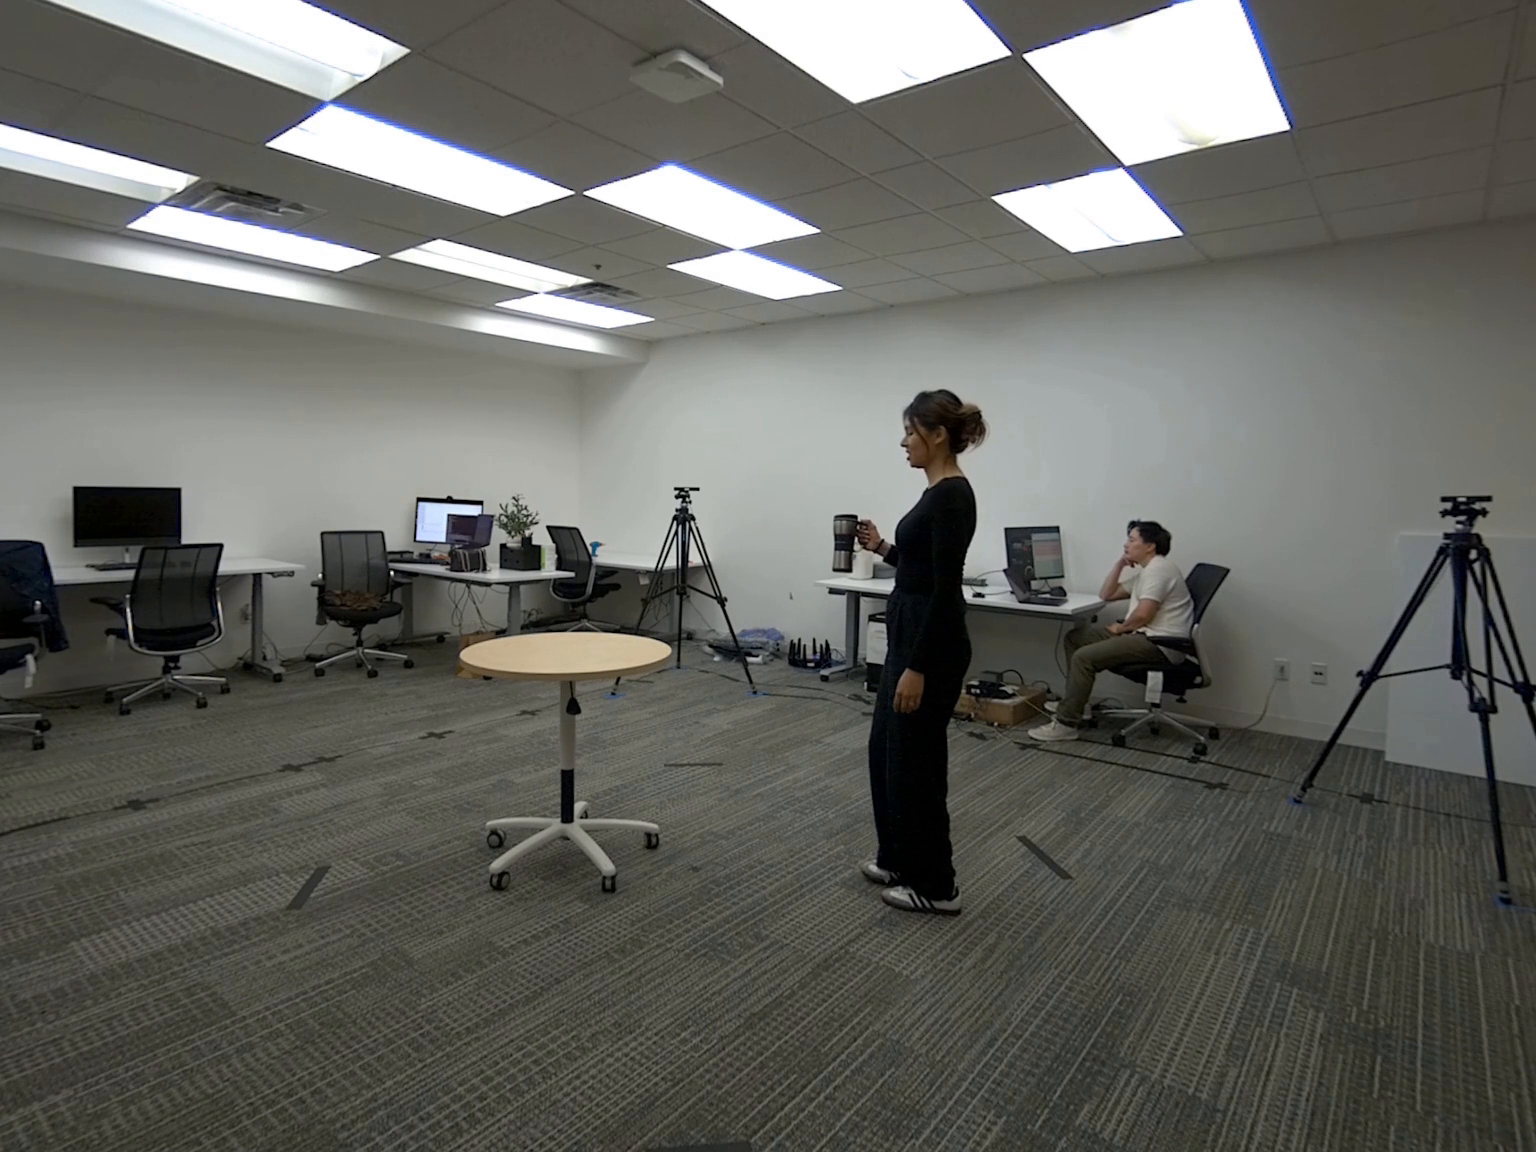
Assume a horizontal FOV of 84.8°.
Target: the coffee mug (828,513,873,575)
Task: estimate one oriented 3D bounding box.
[{"bbox_3d":[0.294,-0.113,3.014,0.125,0.204,0.085,-3,-10,41],"label":"coffee mug"}]
